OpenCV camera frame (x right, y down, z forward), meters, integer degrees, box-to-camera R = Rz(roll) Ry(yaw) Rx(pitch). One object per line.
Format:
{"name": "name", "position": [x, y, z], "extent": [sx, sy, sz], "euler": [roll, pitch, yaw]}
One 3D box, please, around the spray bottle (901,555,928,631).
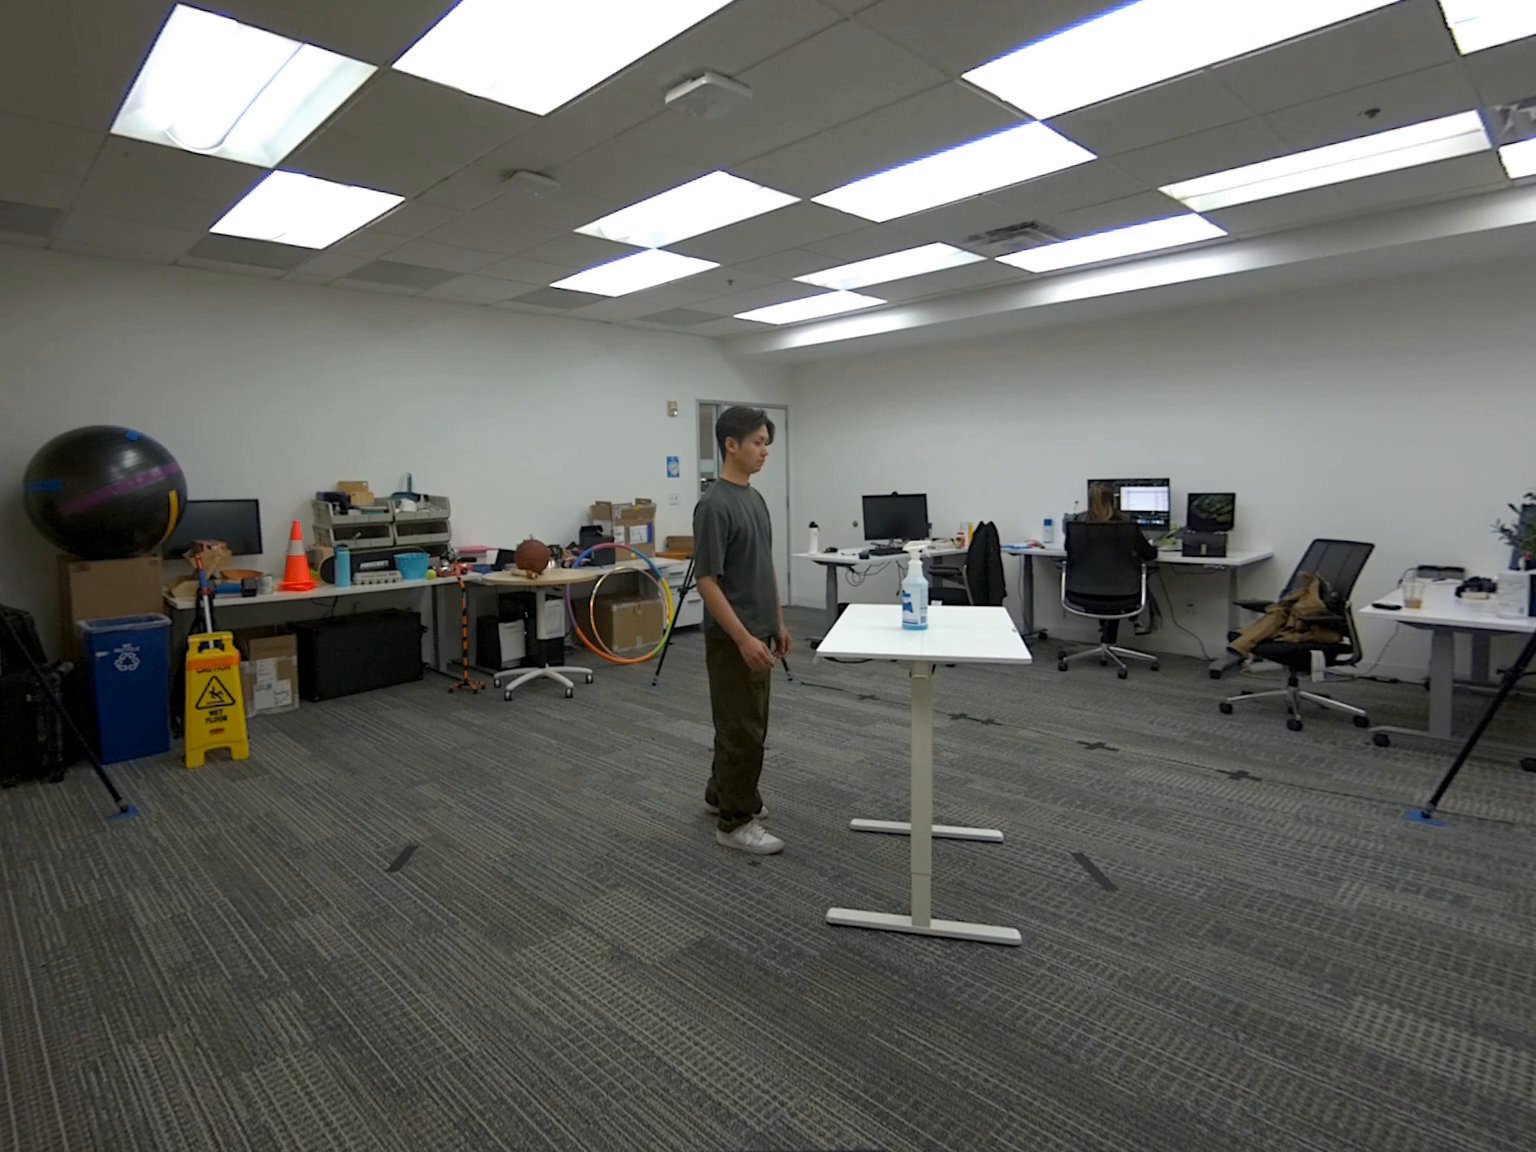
{"name": "spray bottle", "position": [0.504, 0.032, 2.881], "extent": [0.092, 0.296, 0.085], "euler": [2, 5, 29]}
